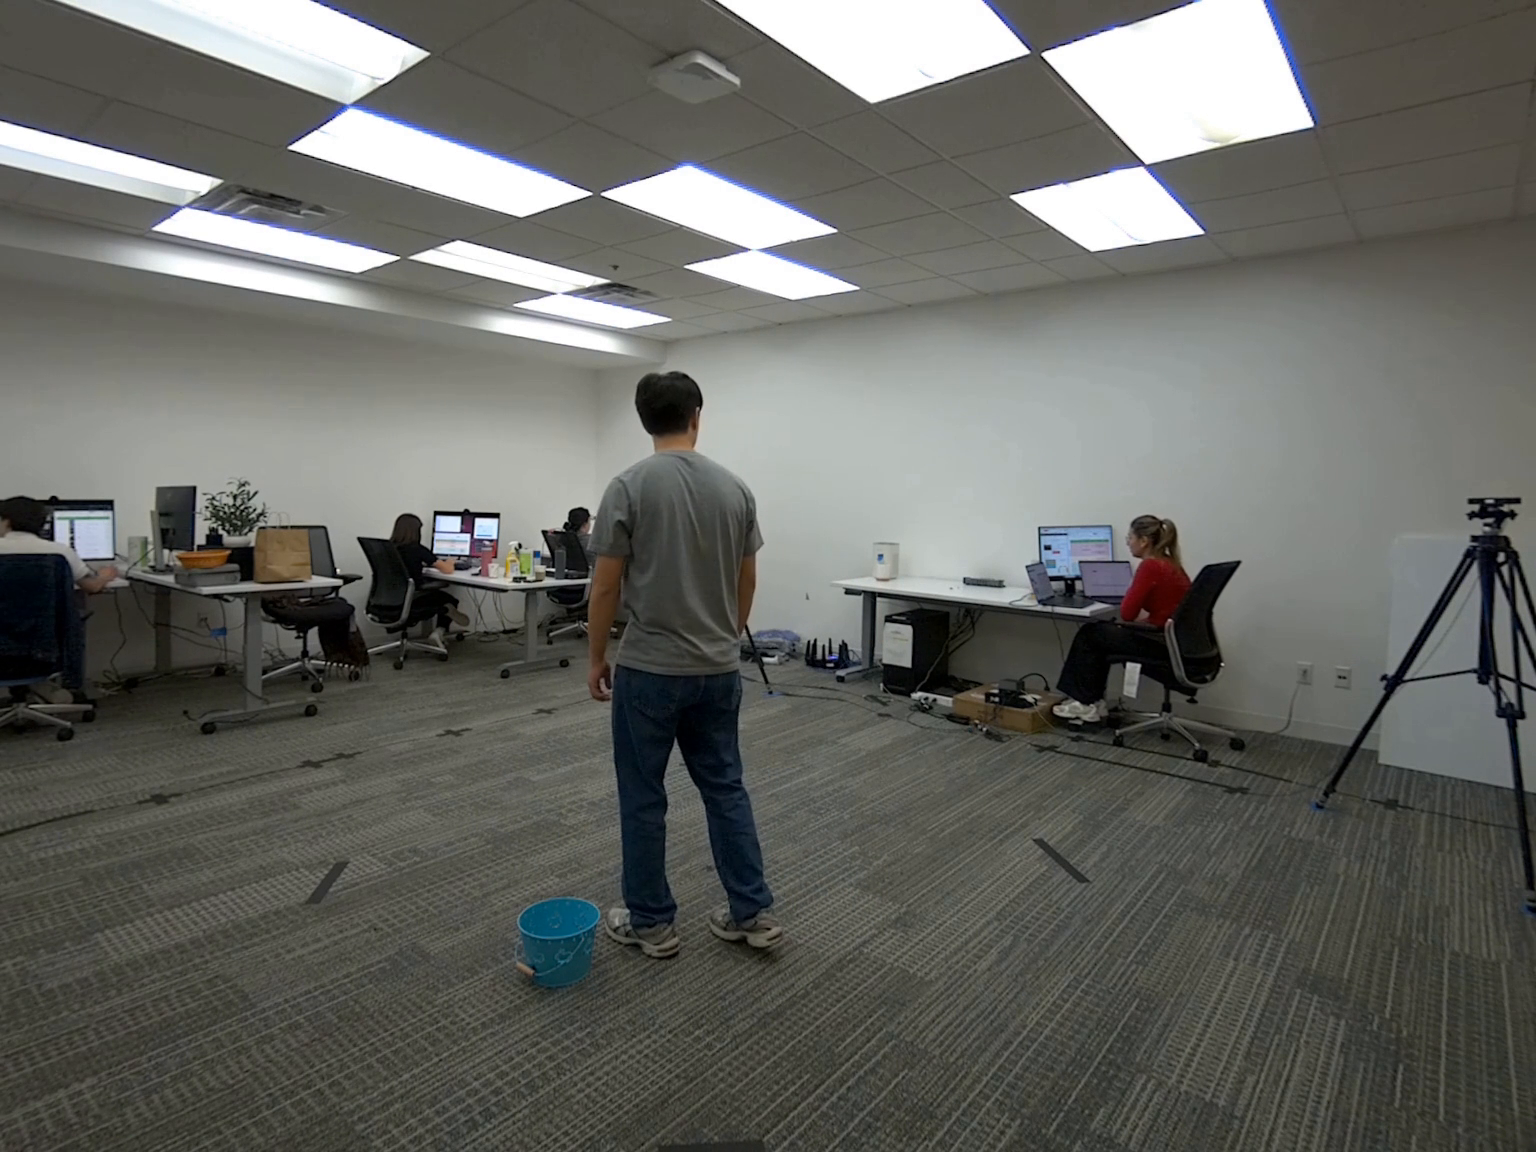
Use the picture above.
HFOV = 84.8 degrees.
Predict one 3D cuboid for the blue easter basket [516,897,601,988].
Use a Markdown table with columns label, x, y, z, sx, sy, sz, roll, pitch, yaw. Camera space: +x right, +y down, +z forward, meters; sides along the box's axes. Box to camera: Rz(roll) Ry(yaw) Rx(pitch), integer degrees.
| label | x | y | z | sx | sy | sz | roll | pitch | yaw |
| --- | --- | --- | --- | --- | --- | --- | --- | --- | --- |
| blue easter basket | -0.610 | 1.047 | 2.442 | 0.243 | 0.155 | 0.244 | 1 | 3 | -2 |
